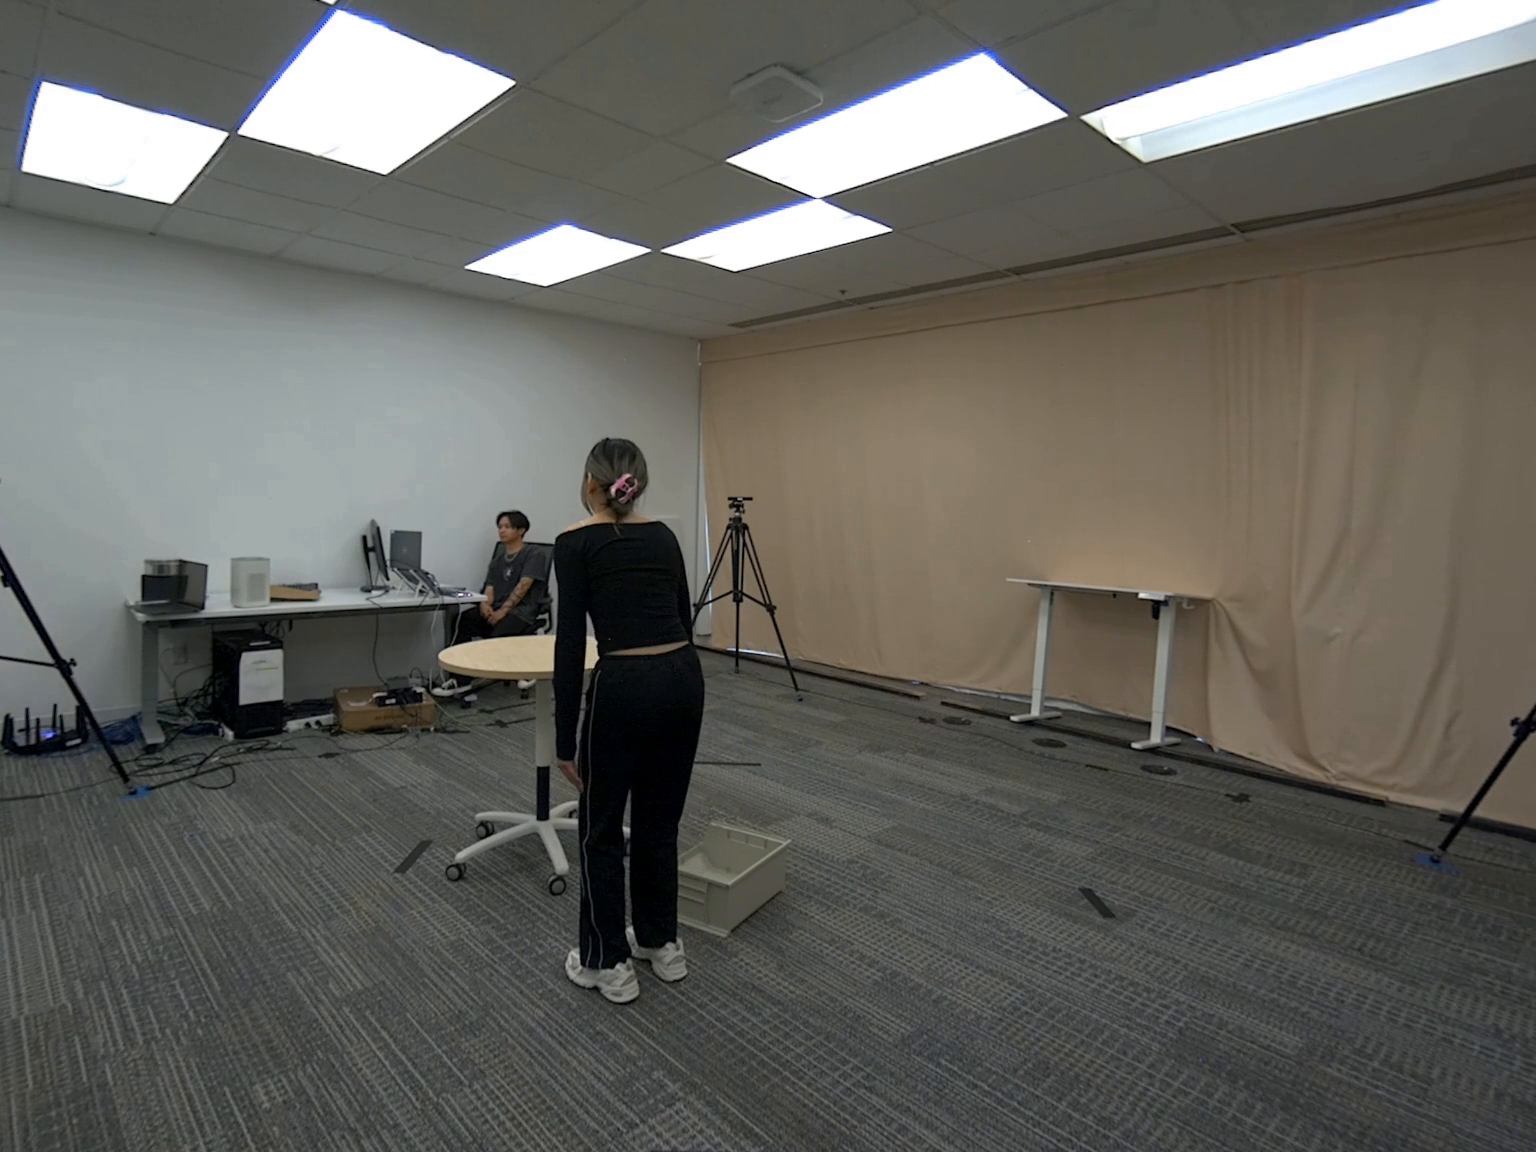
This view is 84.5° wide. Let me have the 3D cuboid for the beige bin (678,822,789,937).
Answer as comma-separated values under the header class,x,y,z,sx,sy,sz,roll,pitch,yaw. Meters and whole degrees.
class,x,y,z,sx,sy,sz,roll,pitch,yaw
beige bin,-0.190,1.036,2.919,0.386,0.188,0.414,5,6,30
